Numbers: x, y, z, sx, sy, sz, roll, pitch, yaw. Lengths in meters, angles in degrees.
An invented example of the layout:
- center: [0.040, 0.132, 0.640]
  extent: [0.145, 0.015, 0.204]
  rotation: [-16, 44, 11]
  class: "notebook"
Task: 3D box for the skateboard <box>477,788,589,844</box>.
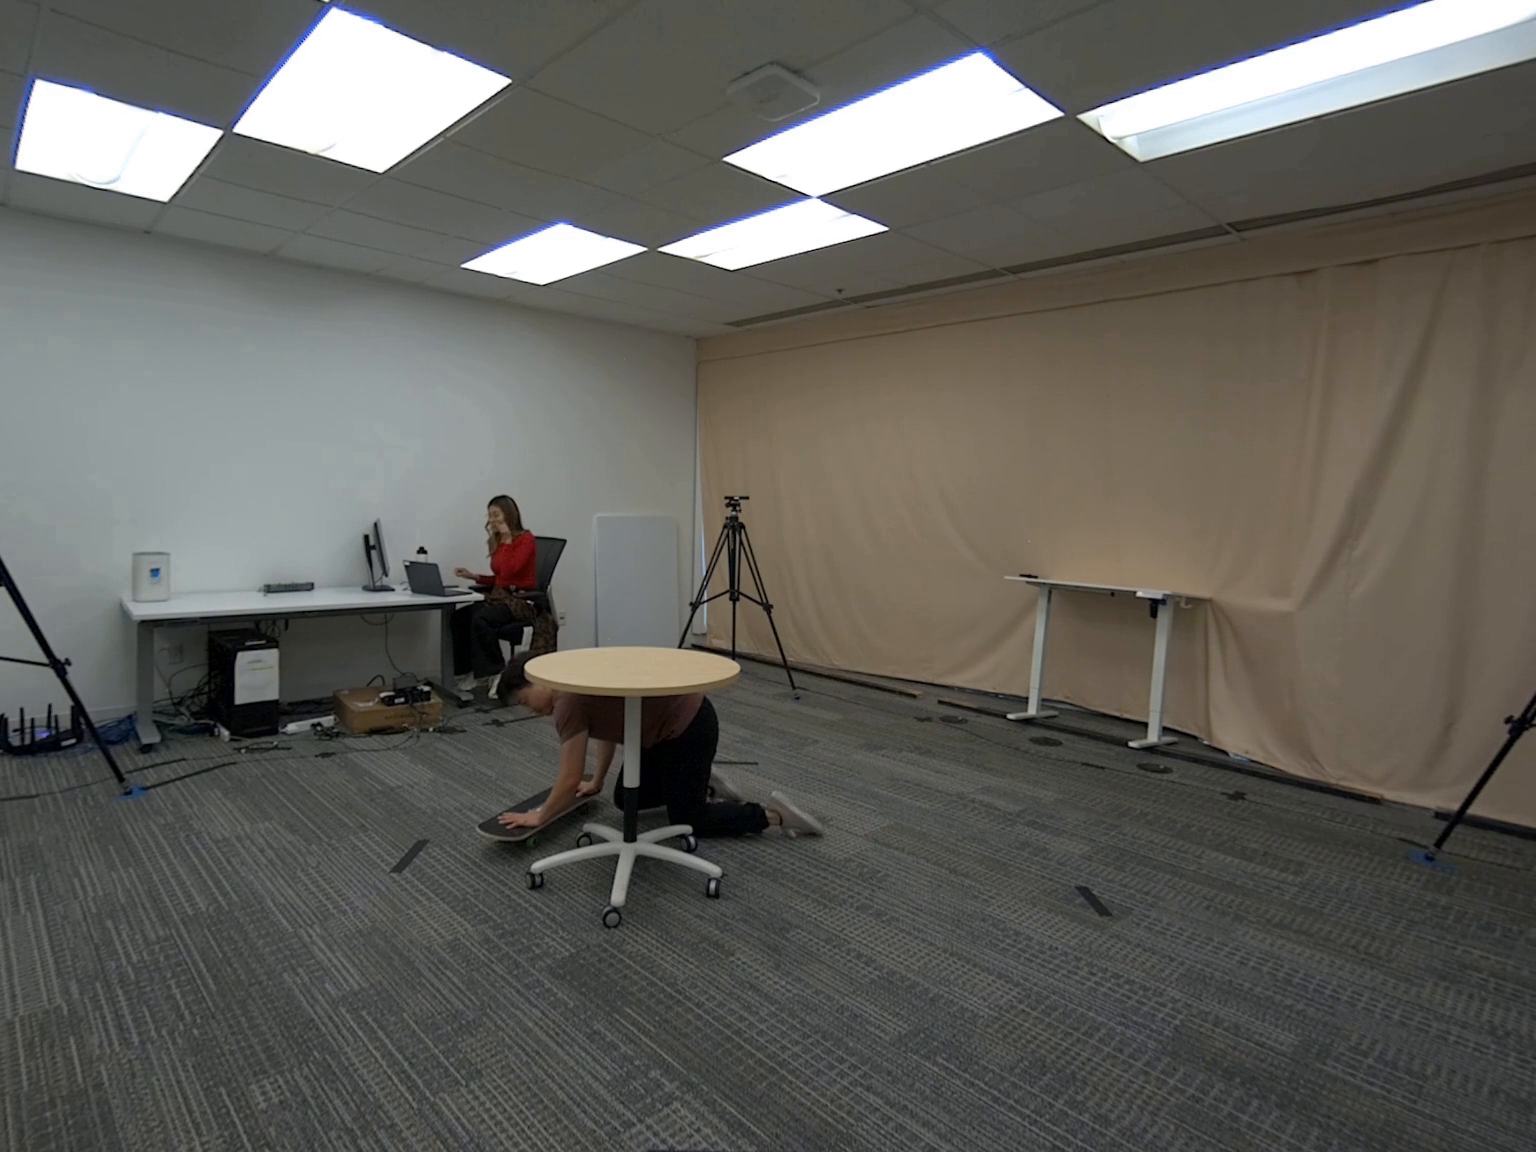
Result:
- center: [-0.927, 0.983, 3.510]
  extent: [0.197, 0.110, 0.775]
  rotation: [8, 7, 19]
  class: "skateboard"
